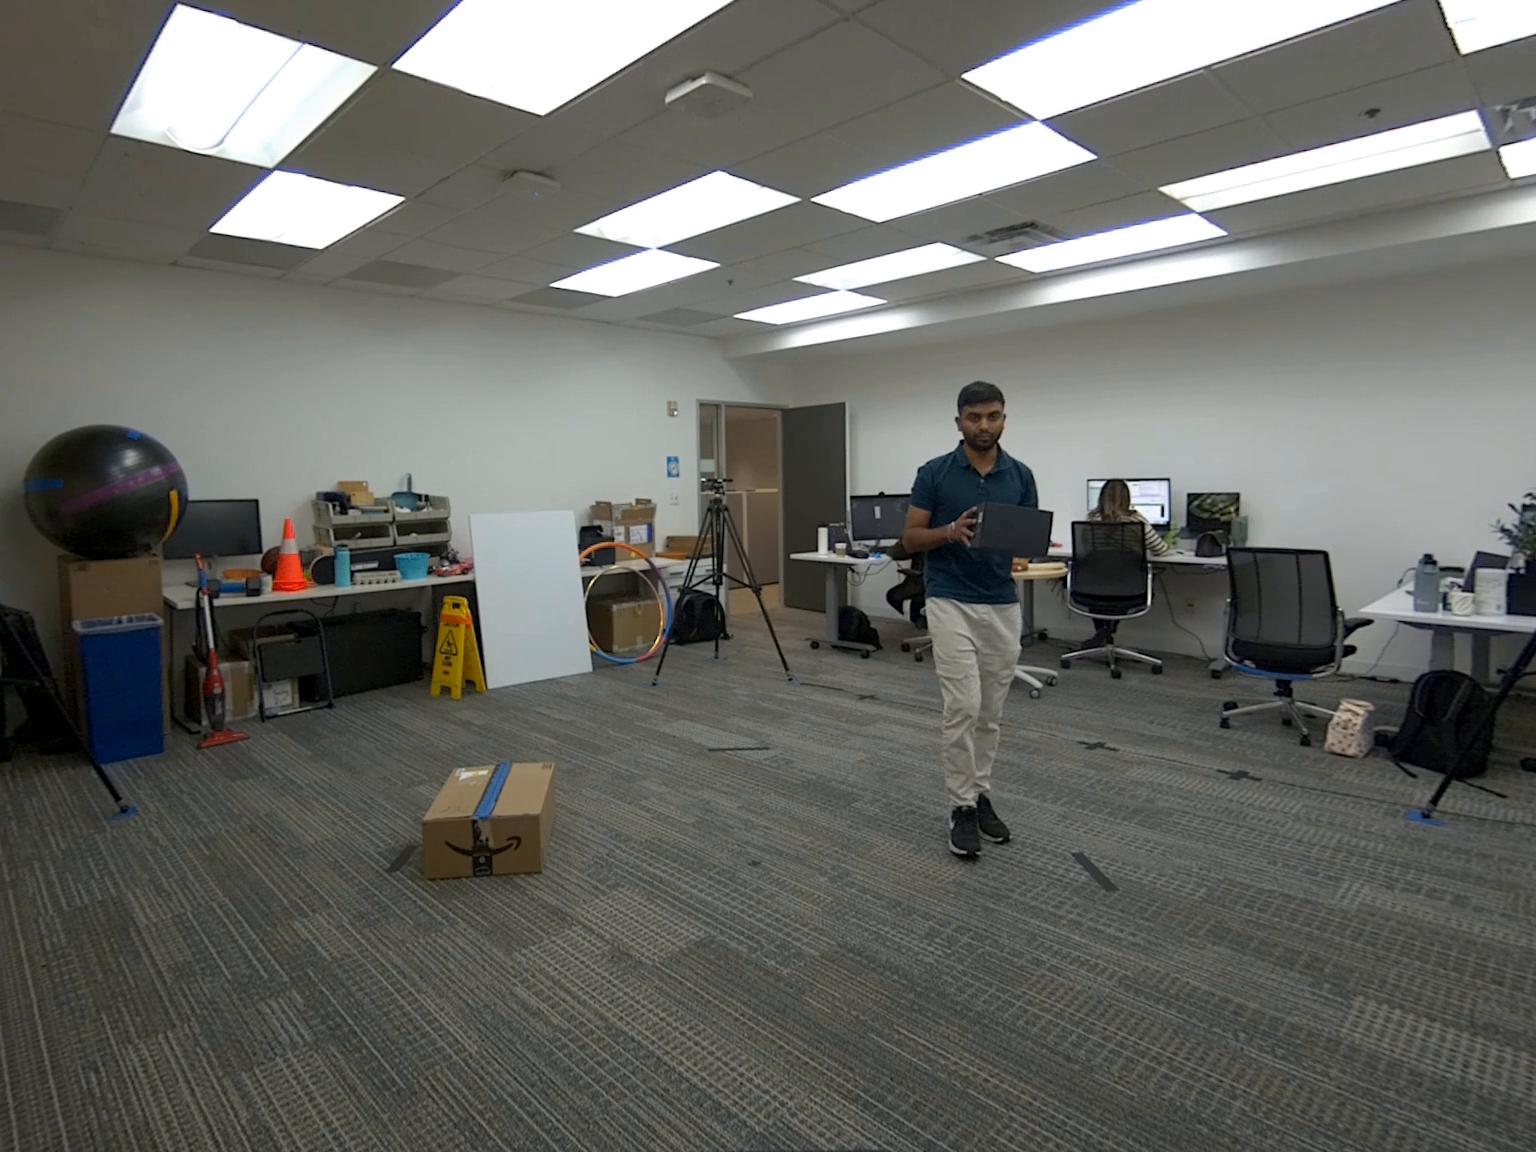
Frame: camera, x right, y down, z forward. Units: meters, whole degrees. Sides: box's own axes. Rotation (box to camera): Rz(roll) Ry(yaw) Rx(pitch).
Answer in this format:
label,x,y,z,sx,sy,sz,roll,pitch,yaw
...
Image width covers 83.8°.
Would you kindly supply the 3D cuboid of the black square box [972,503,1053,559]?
label,x,y,z,sx,sy,sz,roll,pitch,yaw
black square box,0.830,-0.156,2.969,0.229,0.156,0.215,8,-1,4
